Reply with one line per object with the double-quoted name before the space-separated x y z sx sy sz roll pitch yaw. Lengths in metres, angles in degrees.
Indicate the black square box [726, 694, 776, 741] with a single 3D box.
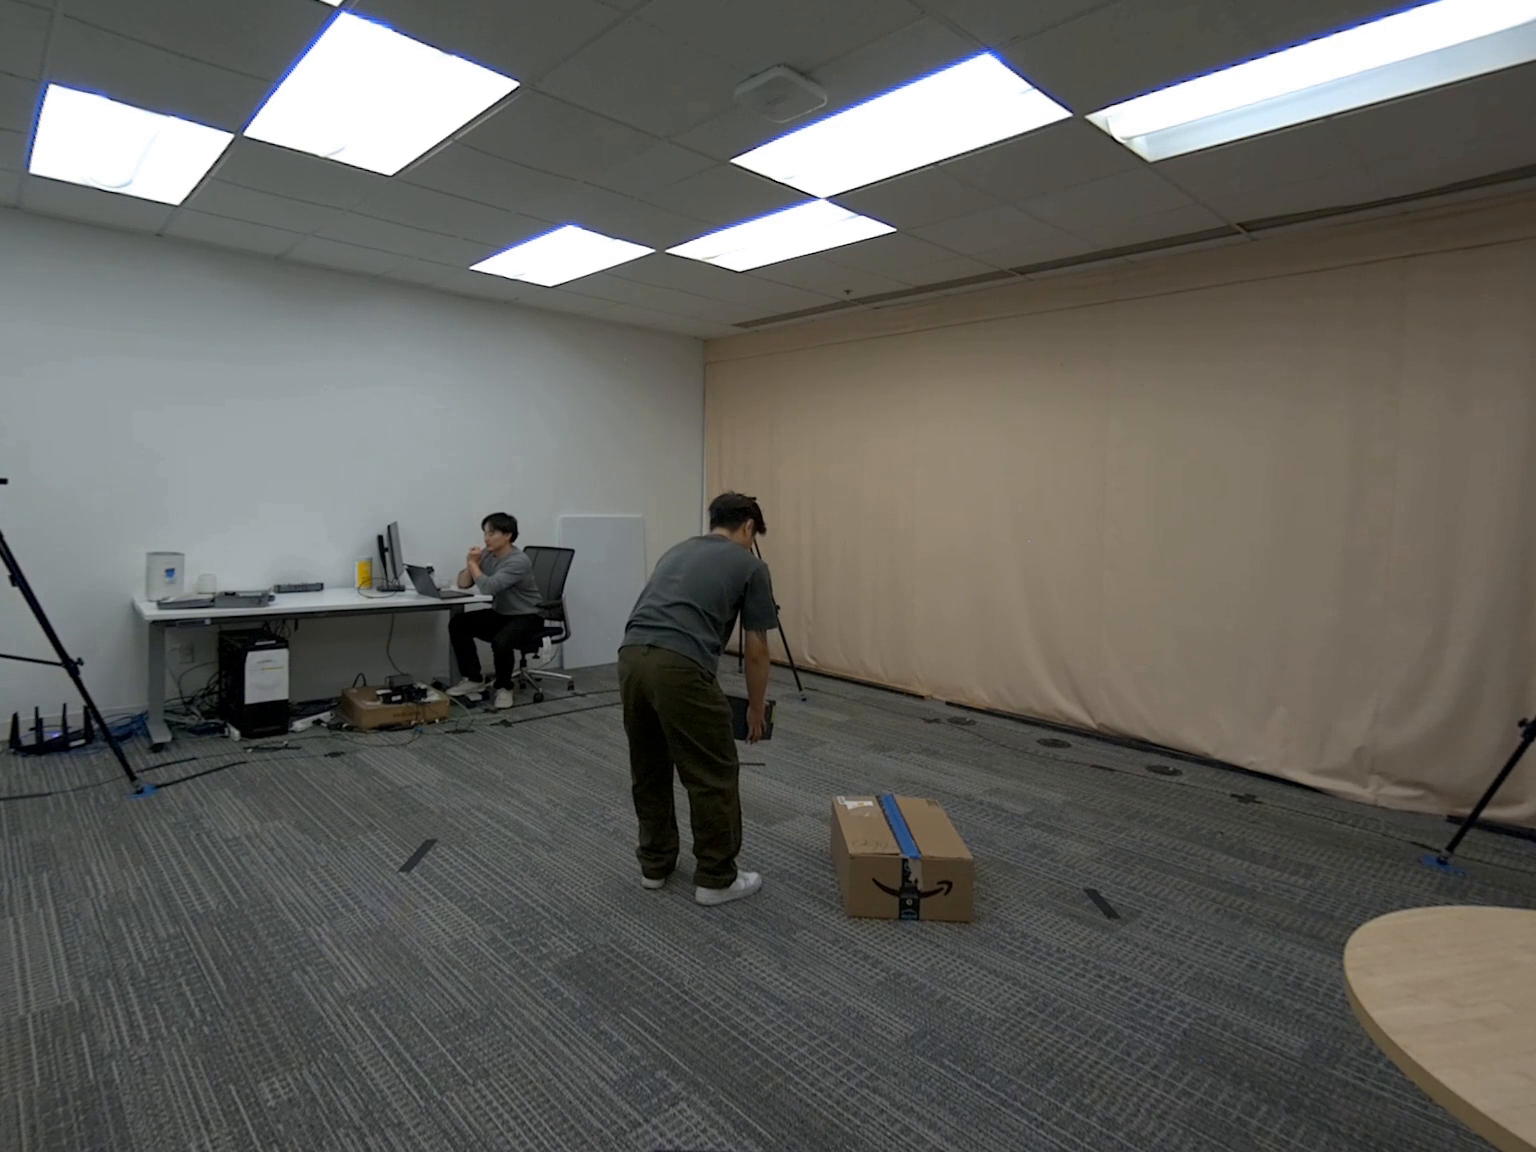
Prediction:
"black square box" -0.123 0.542 3.273 0.233 0.156 0.211 4 -5 33
